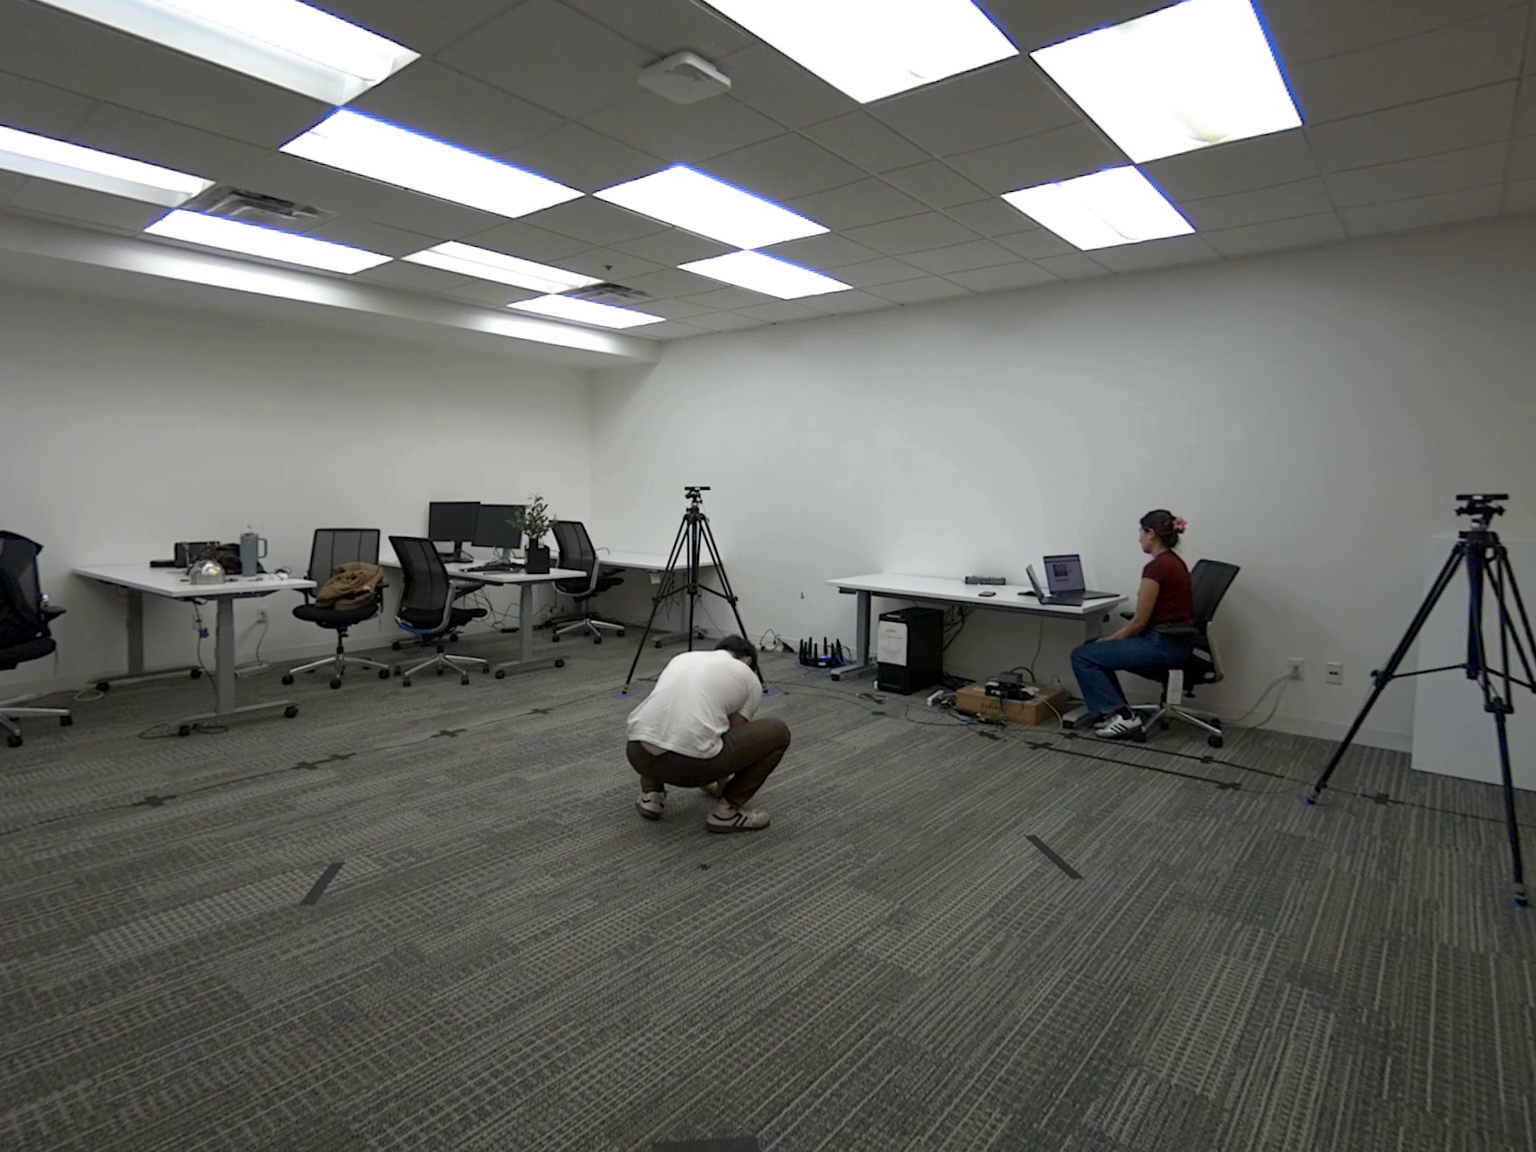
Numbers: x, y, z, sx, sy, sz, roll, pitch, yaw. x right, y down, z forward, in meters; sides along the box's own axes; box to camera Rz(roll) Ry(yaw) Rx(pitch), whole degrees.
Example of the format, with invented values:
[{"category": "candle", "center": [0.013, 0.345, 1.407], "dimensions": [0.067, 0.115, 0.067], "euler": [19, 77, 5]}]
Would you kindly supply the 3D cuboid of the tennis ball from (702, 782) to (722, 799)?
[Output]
[{"category": "tennis ball", "center": [-0.237, 0.939, 3.838], "dimensions": [0.066, 0.066, 0.067], "euler": [1, 4, -2]}]
